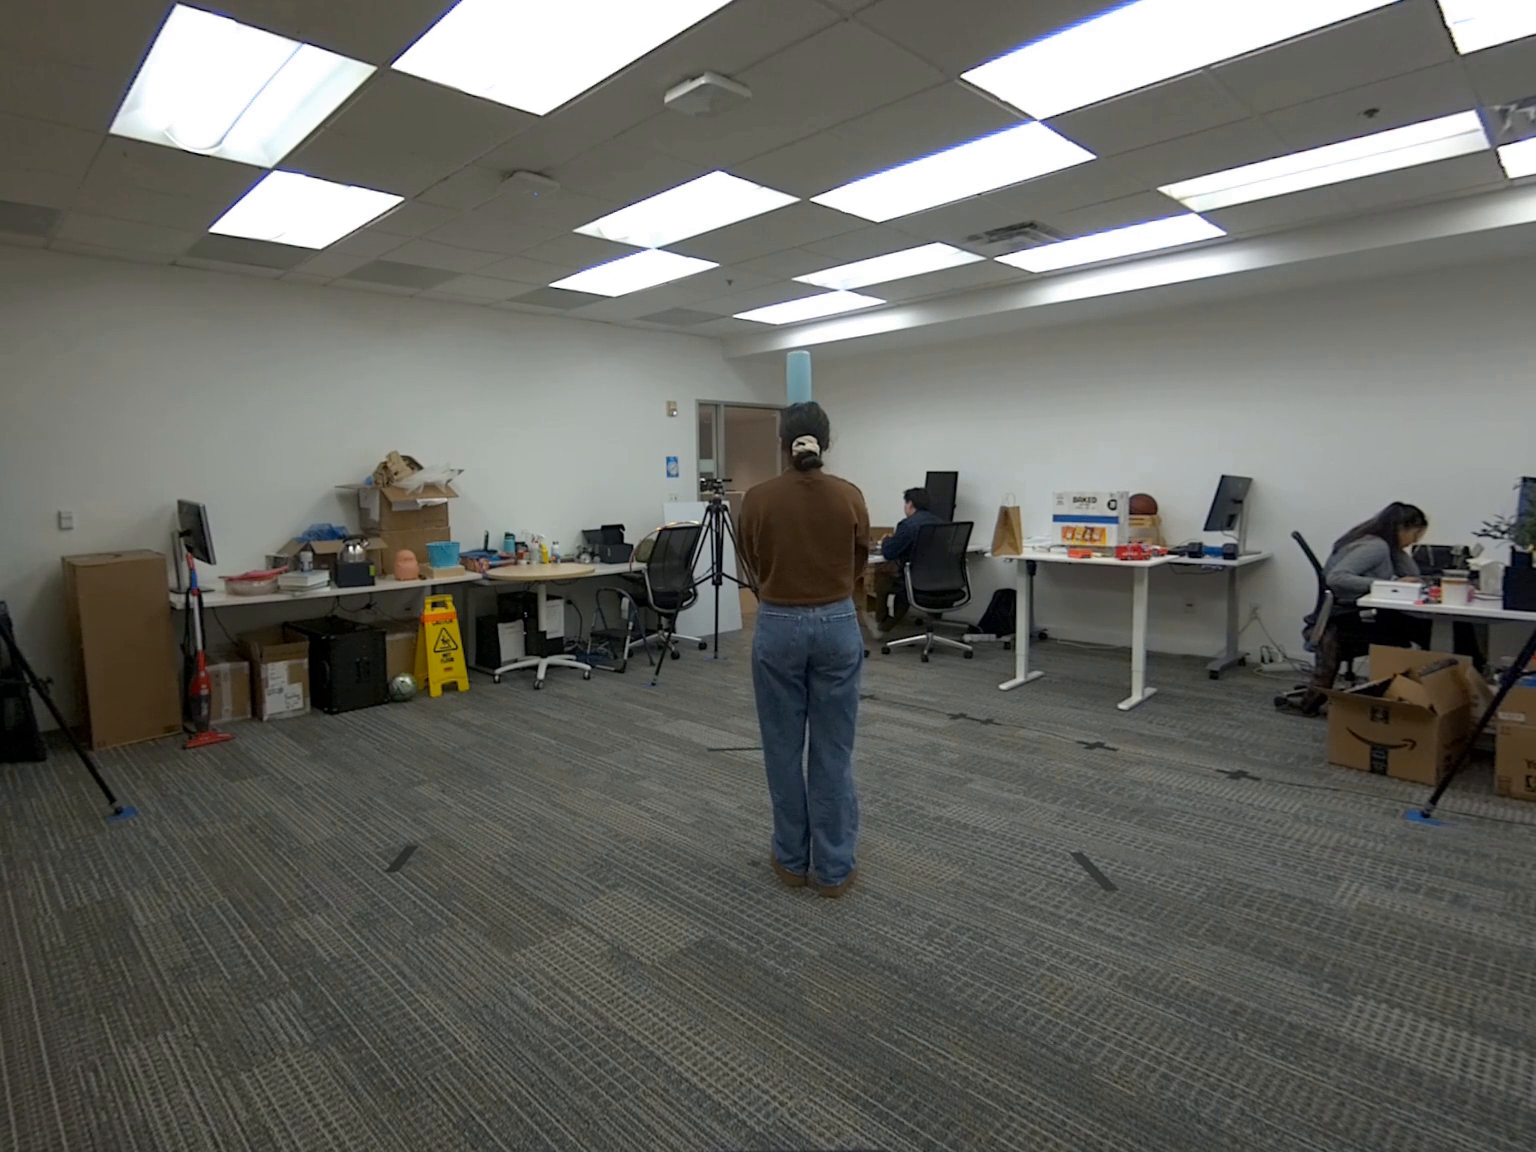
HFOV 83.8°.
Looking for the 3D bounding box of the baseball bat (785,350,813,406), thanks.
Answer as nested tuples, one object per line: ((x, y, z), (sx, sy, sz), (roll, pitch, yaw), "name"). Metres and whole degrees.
((0.124, -0.548, 3.099), (0.089, 0.543, 0.089), (-2, 0, -2), "baseball bat")
